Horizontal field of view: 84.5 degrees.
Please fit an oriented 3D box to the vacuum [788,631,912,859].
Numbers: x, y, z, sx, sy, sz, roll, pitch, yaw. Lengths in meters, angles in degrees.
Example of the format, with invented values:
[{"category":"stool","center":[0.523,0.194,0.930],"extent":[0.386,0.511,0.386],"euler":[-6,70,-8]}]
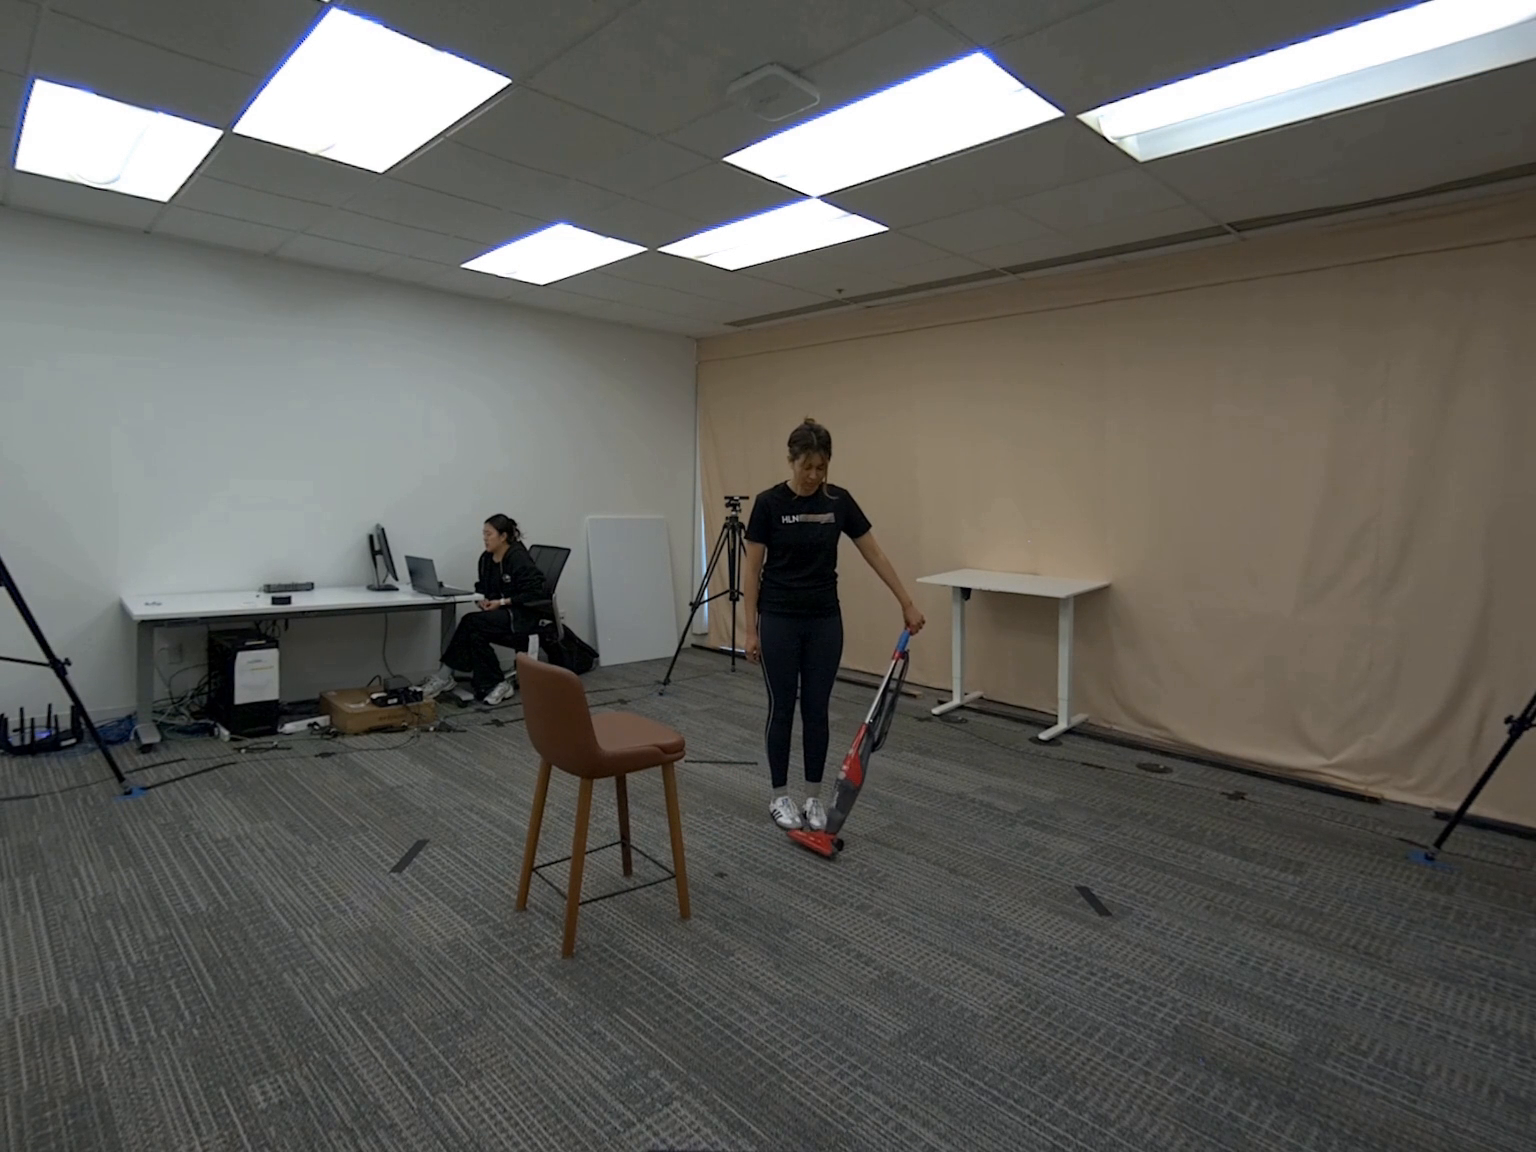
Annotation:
[{"category":"vacuum","center":[0.431,0.633,3.498],"extent":[0.259,1.054,0.139],"euler":[6,-27,49]}]
